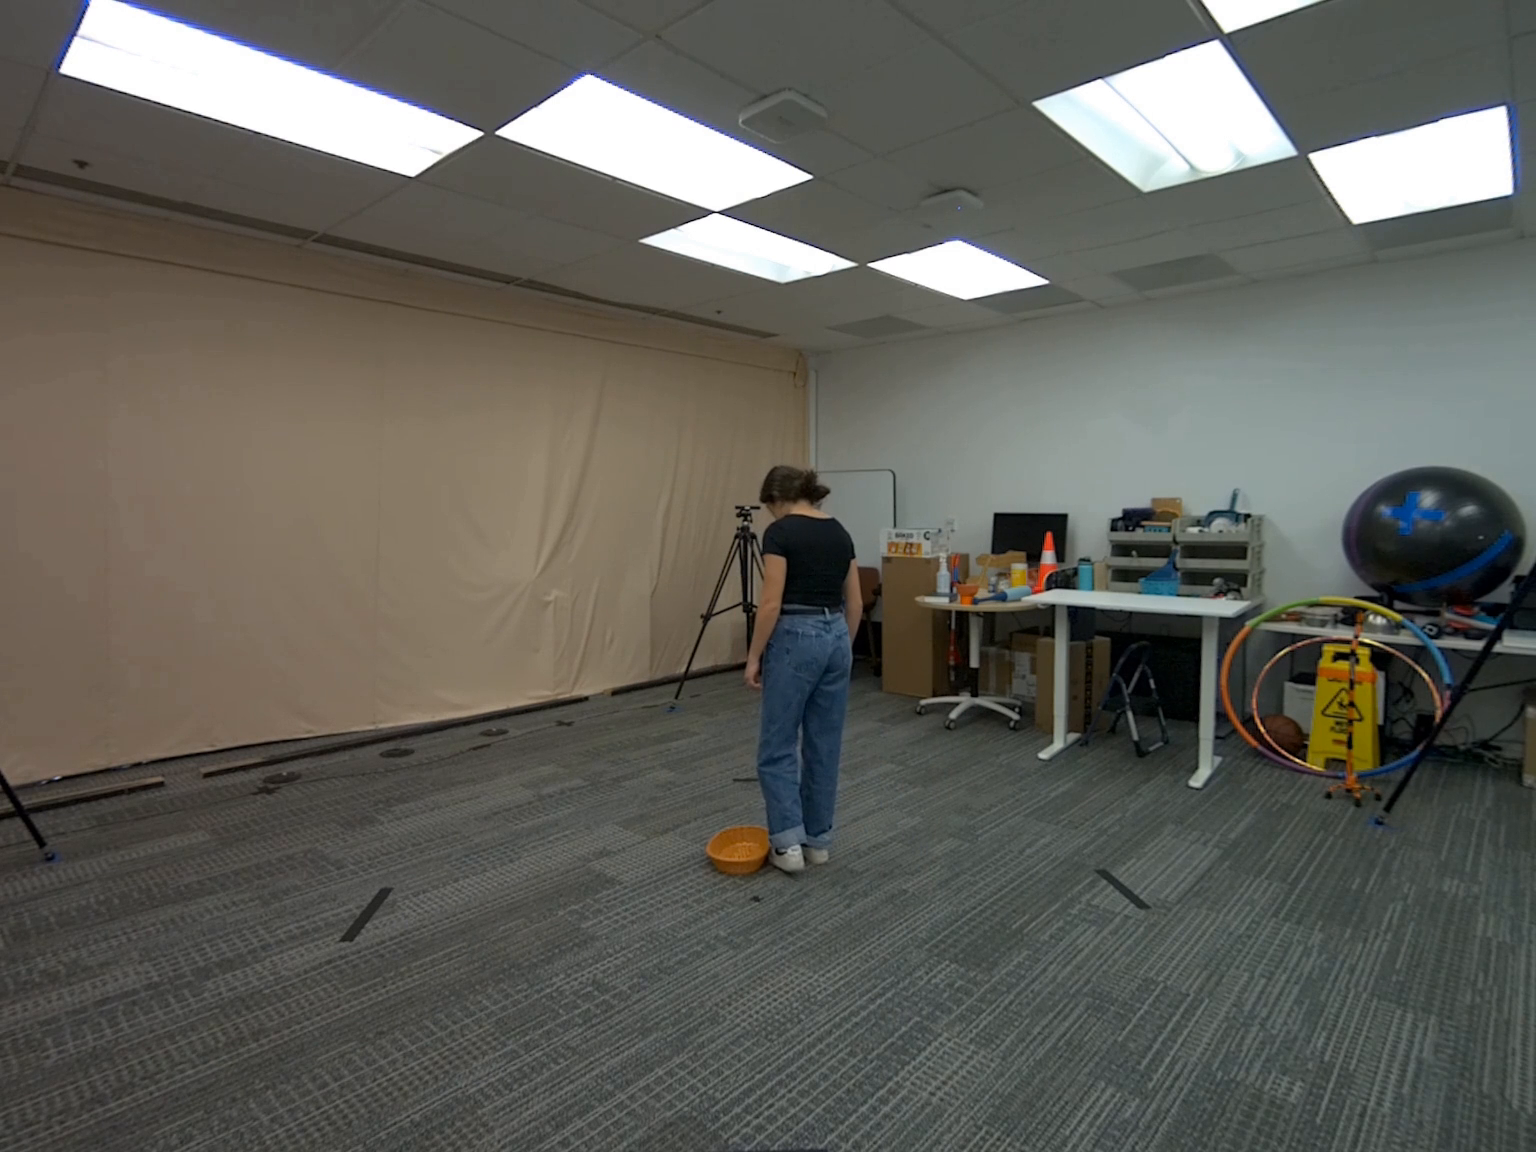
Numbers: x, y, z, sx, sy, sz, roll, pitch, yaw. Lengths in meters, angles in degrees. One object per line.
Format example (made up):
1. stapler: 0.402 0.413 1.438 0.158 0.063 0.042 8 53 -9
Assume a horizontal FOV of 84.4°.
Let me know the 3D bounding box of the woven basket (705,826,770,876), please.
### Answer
1. woven basket: -0.113 1.079 3.317 0.257 0.073 0.344 0 5 18
